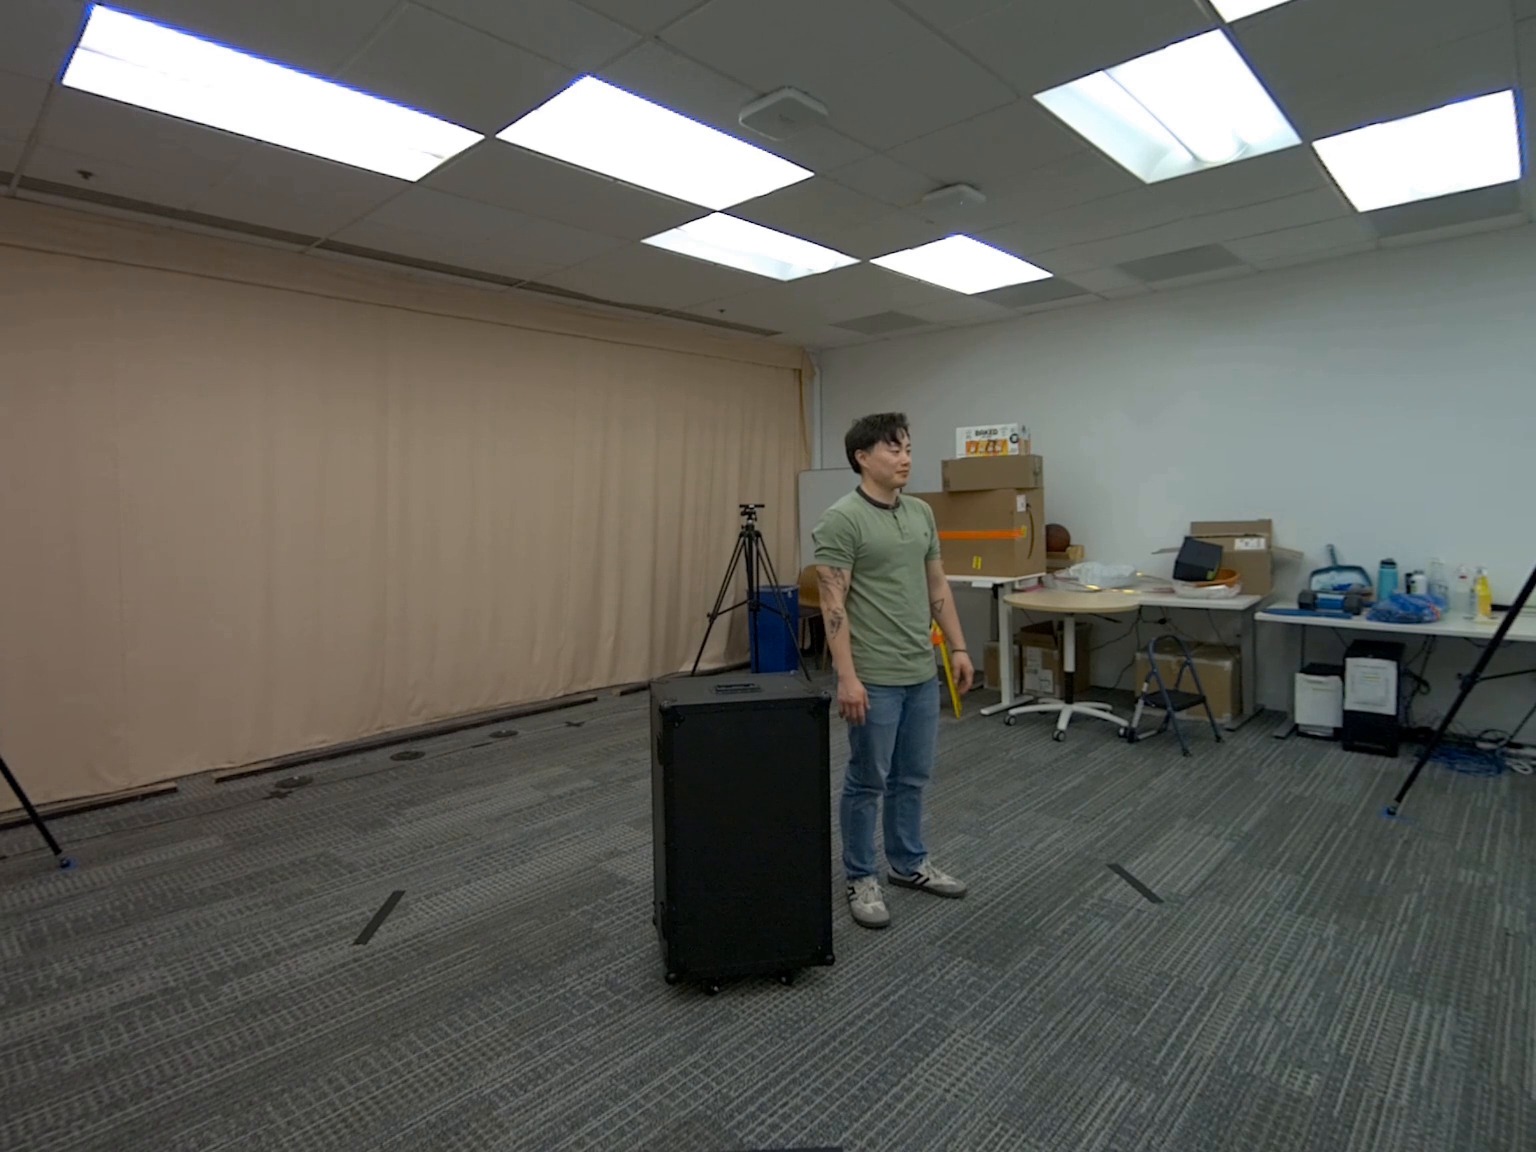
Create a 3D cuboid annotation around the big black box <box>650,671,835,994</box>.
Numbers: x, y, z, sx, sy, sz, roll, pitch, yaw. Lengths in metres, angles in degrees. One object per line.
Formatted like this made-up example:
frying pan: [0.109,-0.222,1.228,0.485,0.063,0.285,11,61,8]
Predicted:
big black box: [-0.085,0.695,2.528,0.515,0.860,0.402,-1,3,-12]
